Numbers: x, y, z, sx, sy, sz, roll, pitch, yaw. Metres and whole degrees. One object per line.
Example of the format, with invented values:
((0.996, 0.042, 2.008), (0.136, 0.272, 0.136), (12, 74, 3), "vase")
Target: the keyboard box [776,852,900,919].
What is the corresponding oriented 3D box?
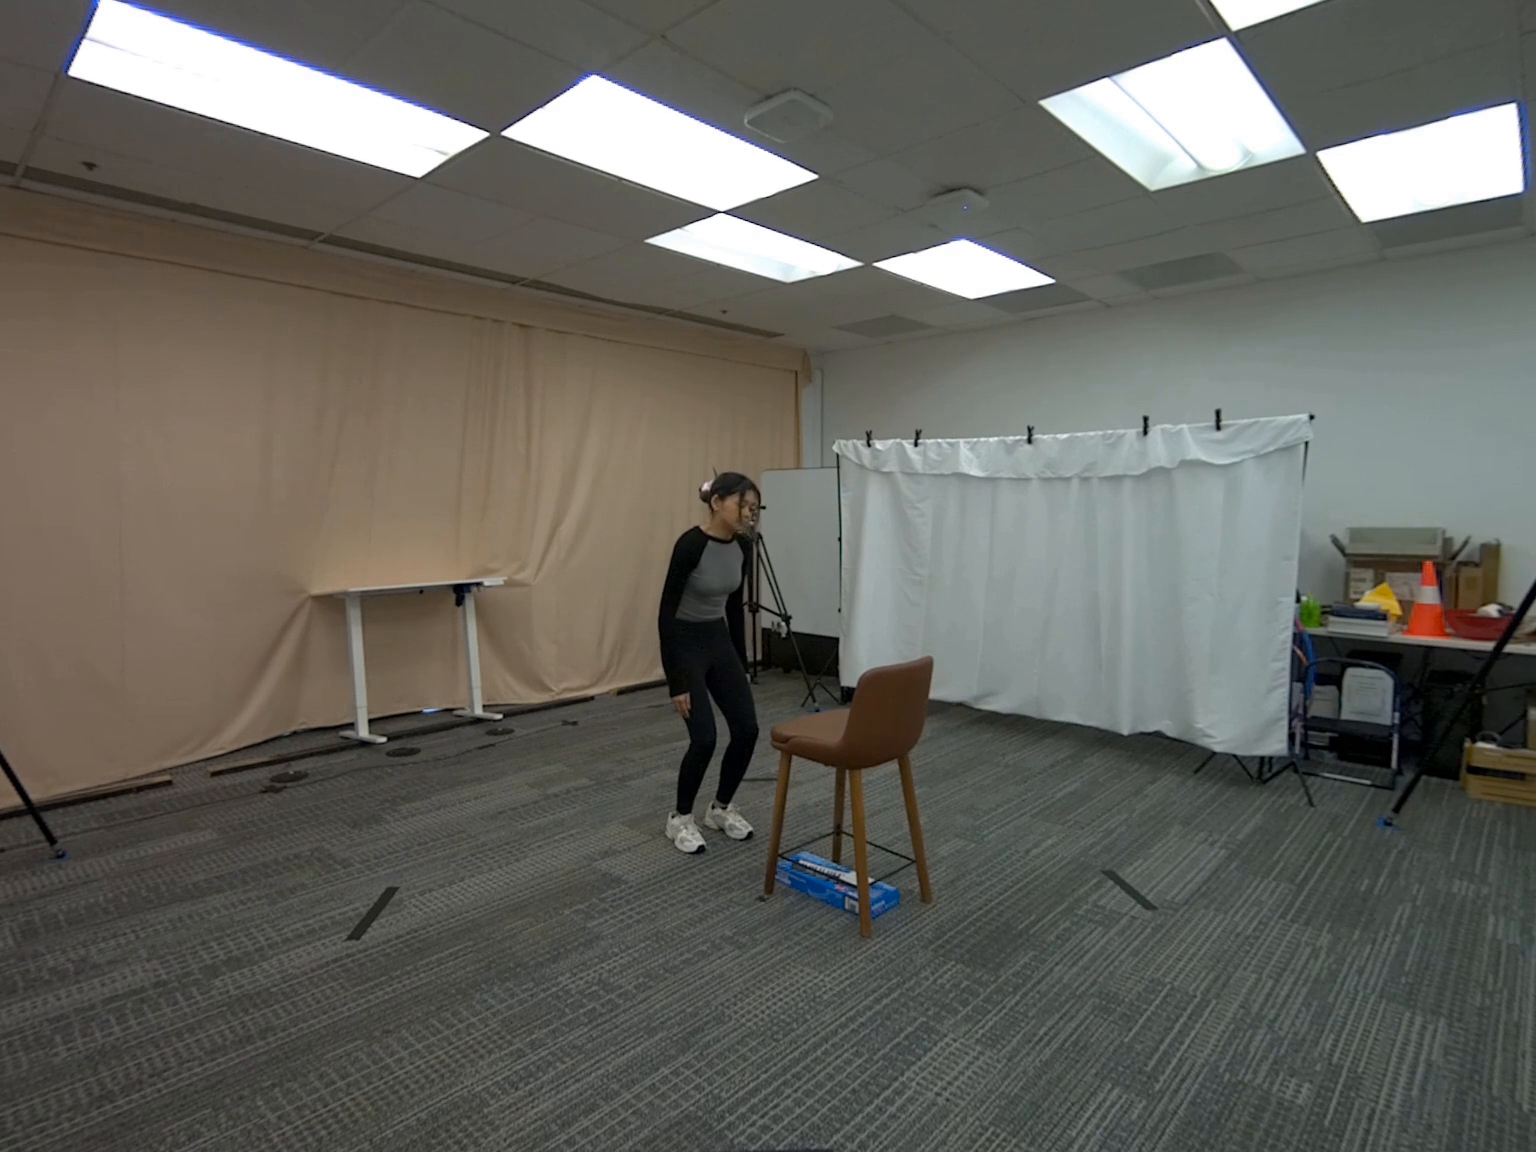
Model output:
((0.244, 1.109, 3.037), (0.170, 0.059, 0.452), (-4, 7, -44), "keyboard box")
